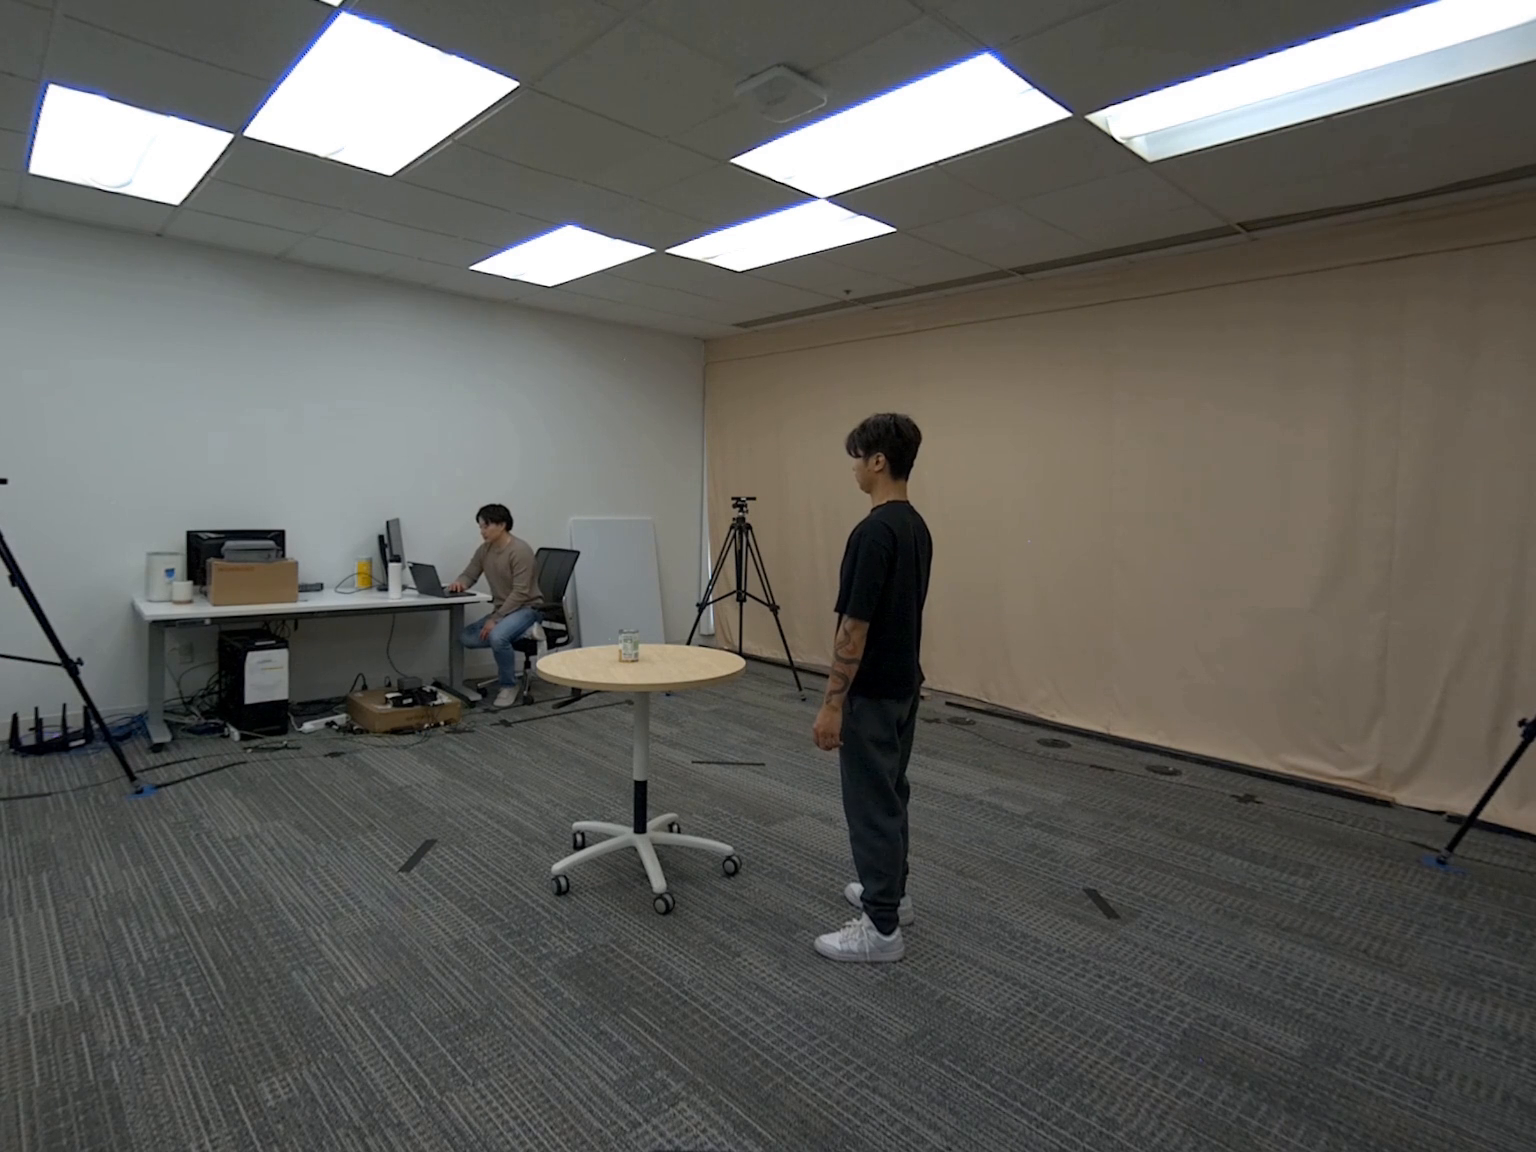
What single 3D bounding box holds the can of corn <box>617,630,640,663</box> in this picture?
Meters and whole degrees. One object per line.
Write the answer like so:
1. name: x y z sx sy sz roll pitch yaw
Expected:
1. can of corn: -0.533 0.263 3.116 0.074 0.111 0.074 -2 1 -1
